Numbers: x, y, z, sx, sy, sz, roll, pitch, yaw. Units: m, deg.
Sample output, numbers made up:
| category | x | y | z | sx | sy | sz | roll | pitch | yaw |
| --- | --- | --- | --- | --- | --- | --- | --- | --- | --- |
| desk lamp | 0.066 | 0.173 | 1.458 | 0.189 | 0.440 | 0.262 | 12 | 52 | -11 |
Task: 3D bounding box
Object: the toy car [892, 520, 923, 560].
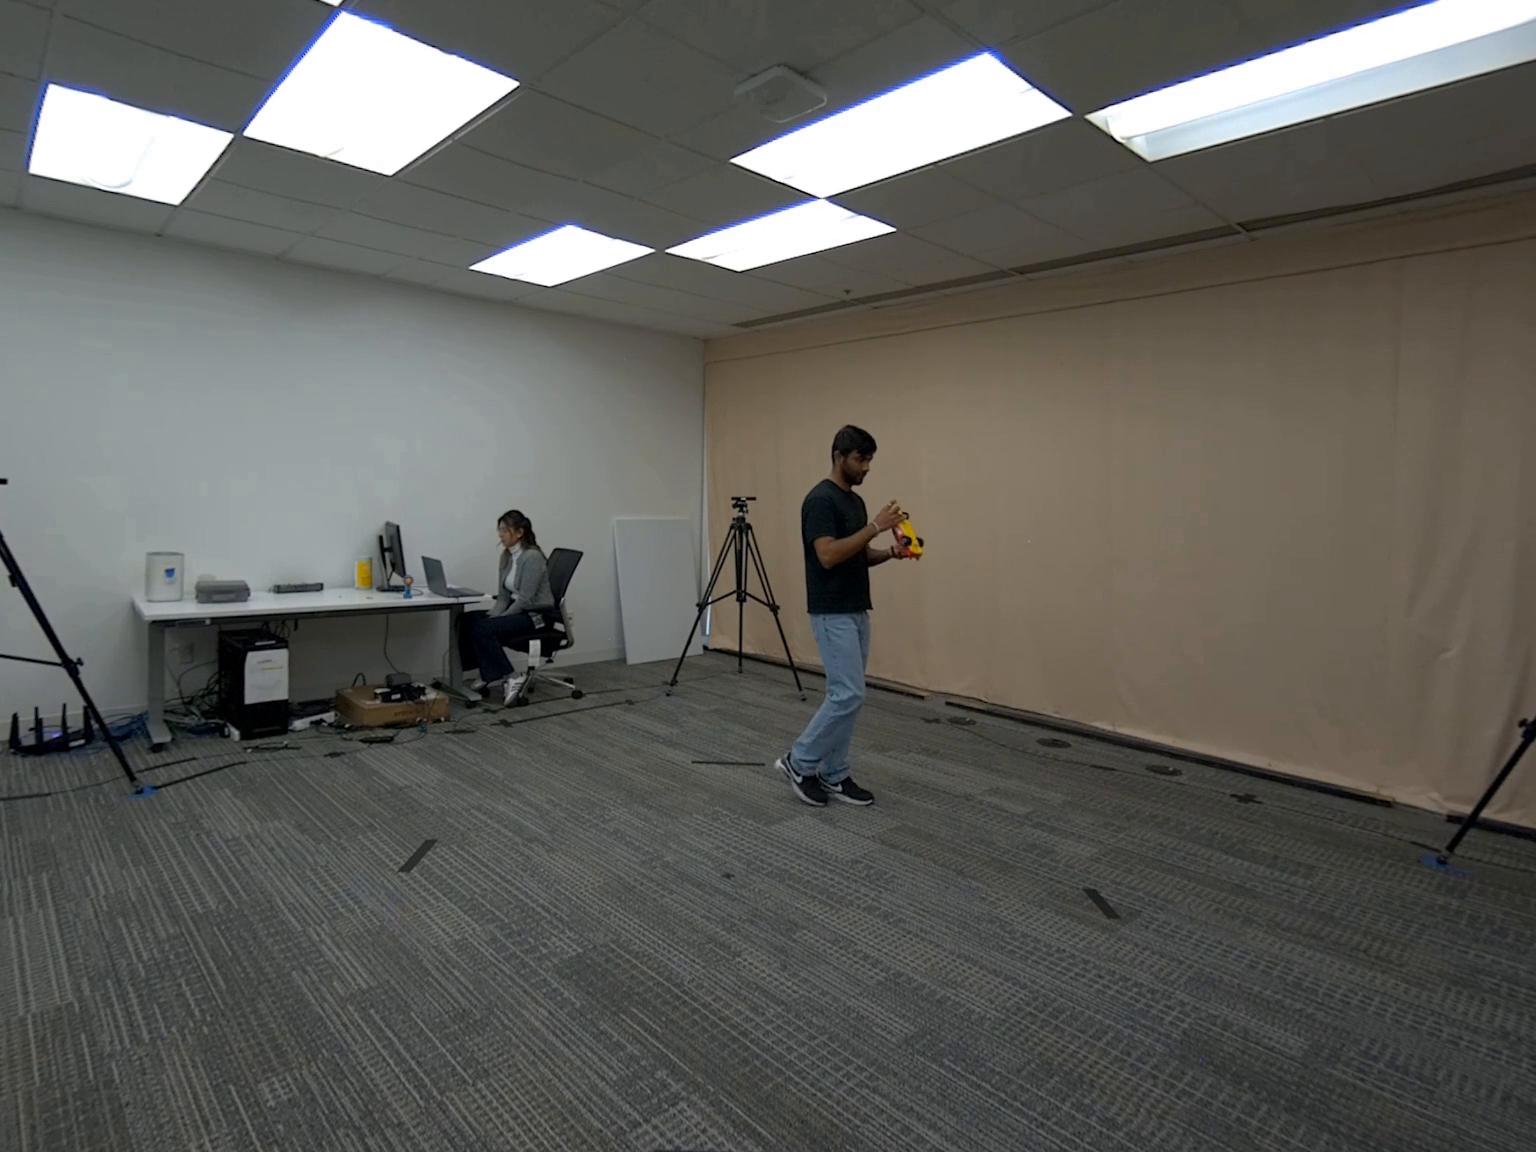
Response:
| category | x | y | z | sx | sy | sz | roll | pitch | yaw |
| --- | --- | --- | --- | --- | --- | --- | --- | --- | --- |
| toy car | 0.598 | -0.184 | 3.724 | 0.127 | 0.259 | 0.084 | 5 | -27 | -43 |
